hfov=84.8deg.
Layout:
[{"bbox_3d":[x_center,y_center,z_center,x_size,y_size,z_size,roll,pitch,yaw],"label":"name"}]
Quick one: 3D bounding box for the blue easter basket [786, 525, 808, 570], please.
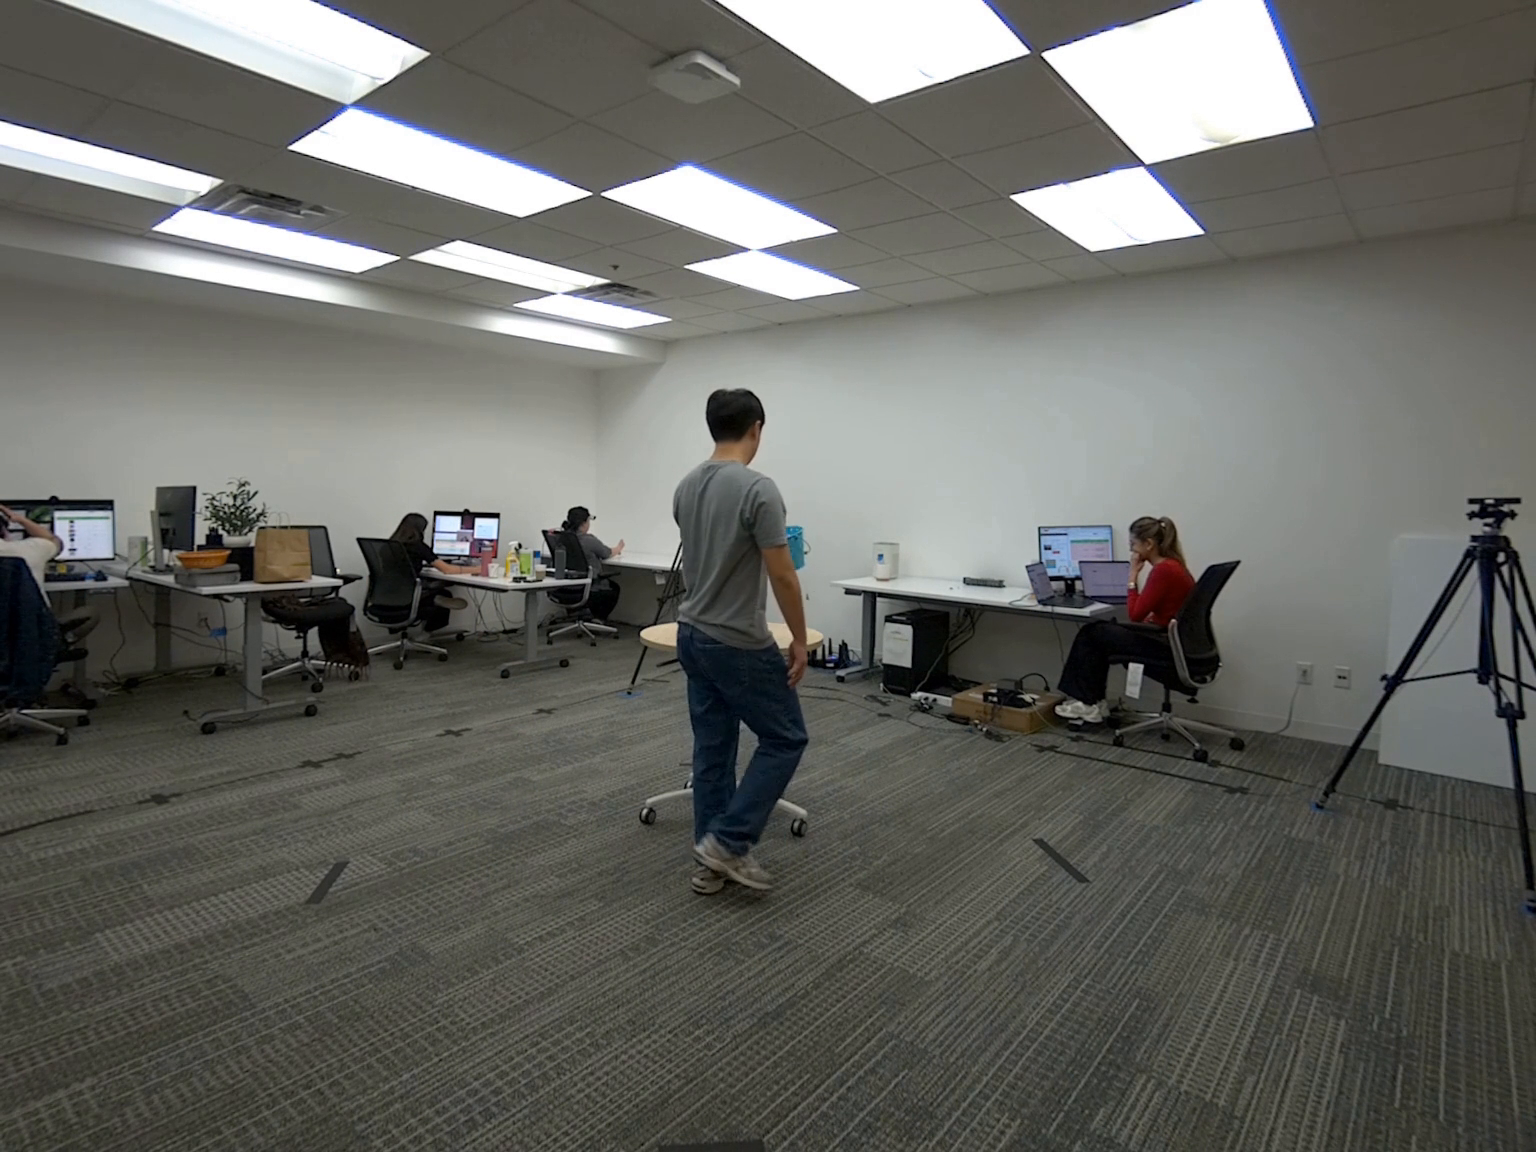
[{"bbox_3d":[0.045,-0.108,3.559,0.244,0.154,0.247,-13,13,1],"label":"blue easter basket"}]
